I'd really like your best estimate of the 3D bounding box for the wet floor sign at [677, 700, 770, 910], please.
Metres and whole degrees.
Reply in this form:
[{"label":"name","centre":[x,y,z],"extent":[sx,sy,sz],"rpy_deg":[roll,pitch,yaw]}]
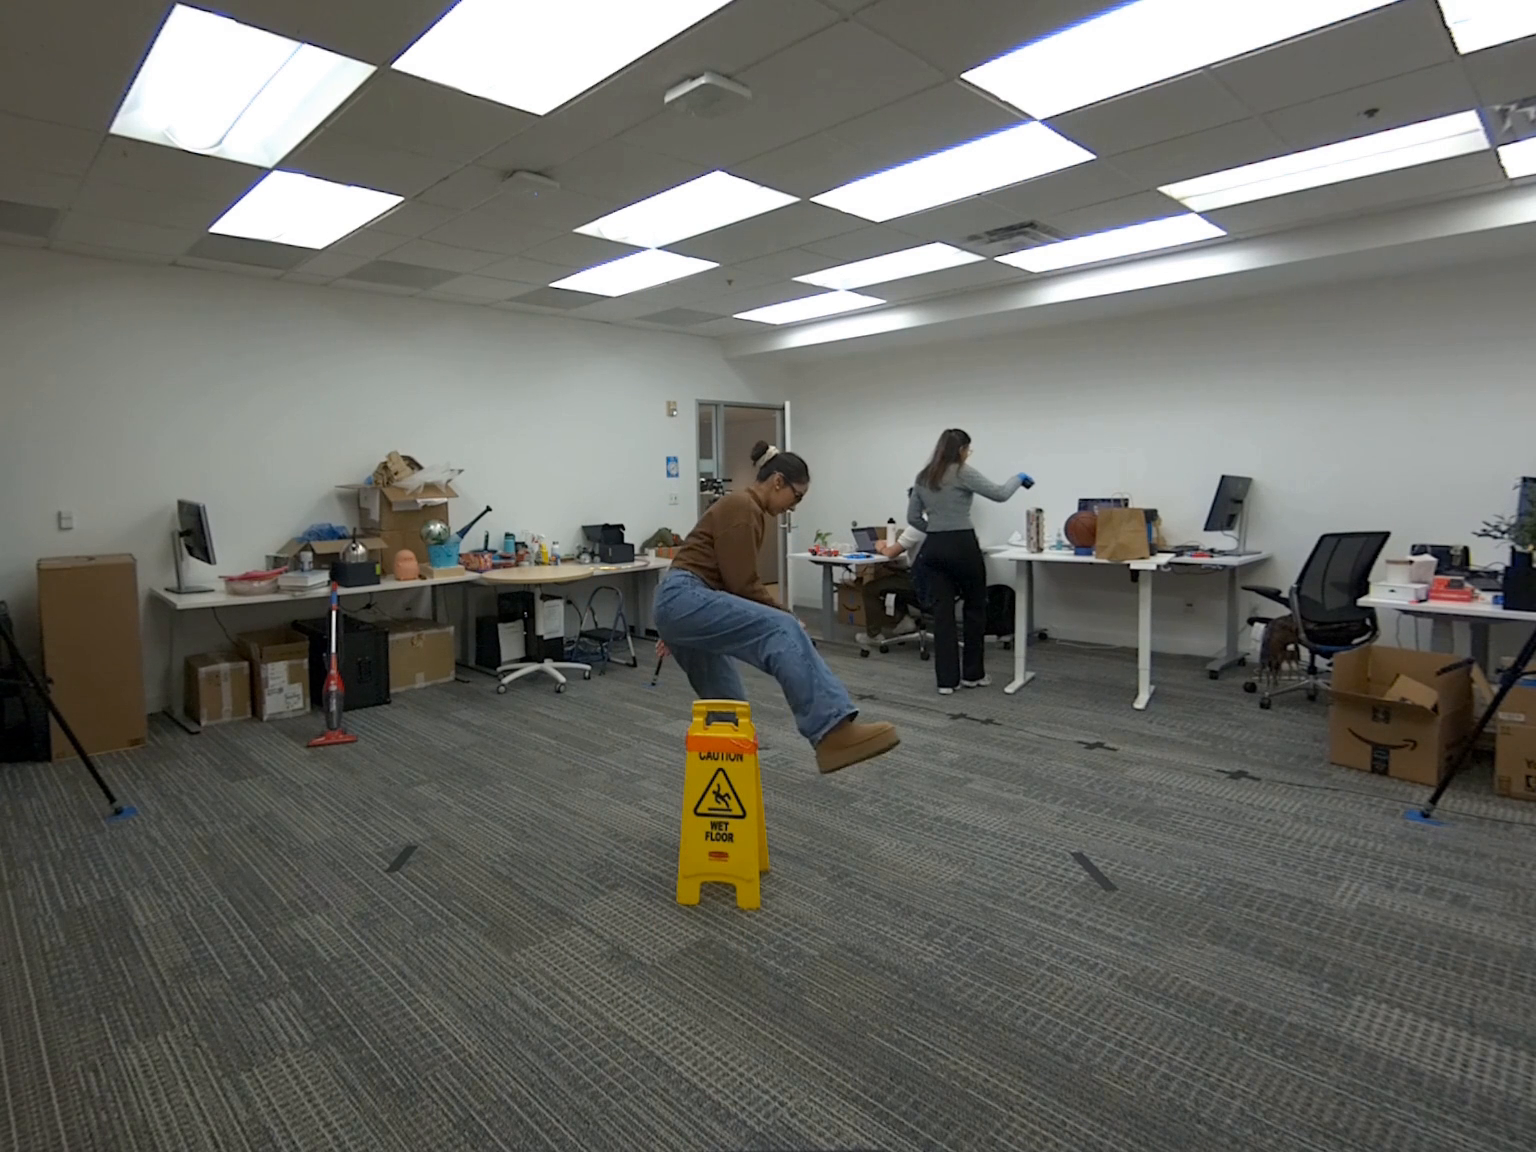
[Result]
[{"label":"wet floor sign","centre":[-0.145,0.751,2.912],"extent":[0.285,0.644,0.288],"rpy_deg":[-2,4,8]}]
